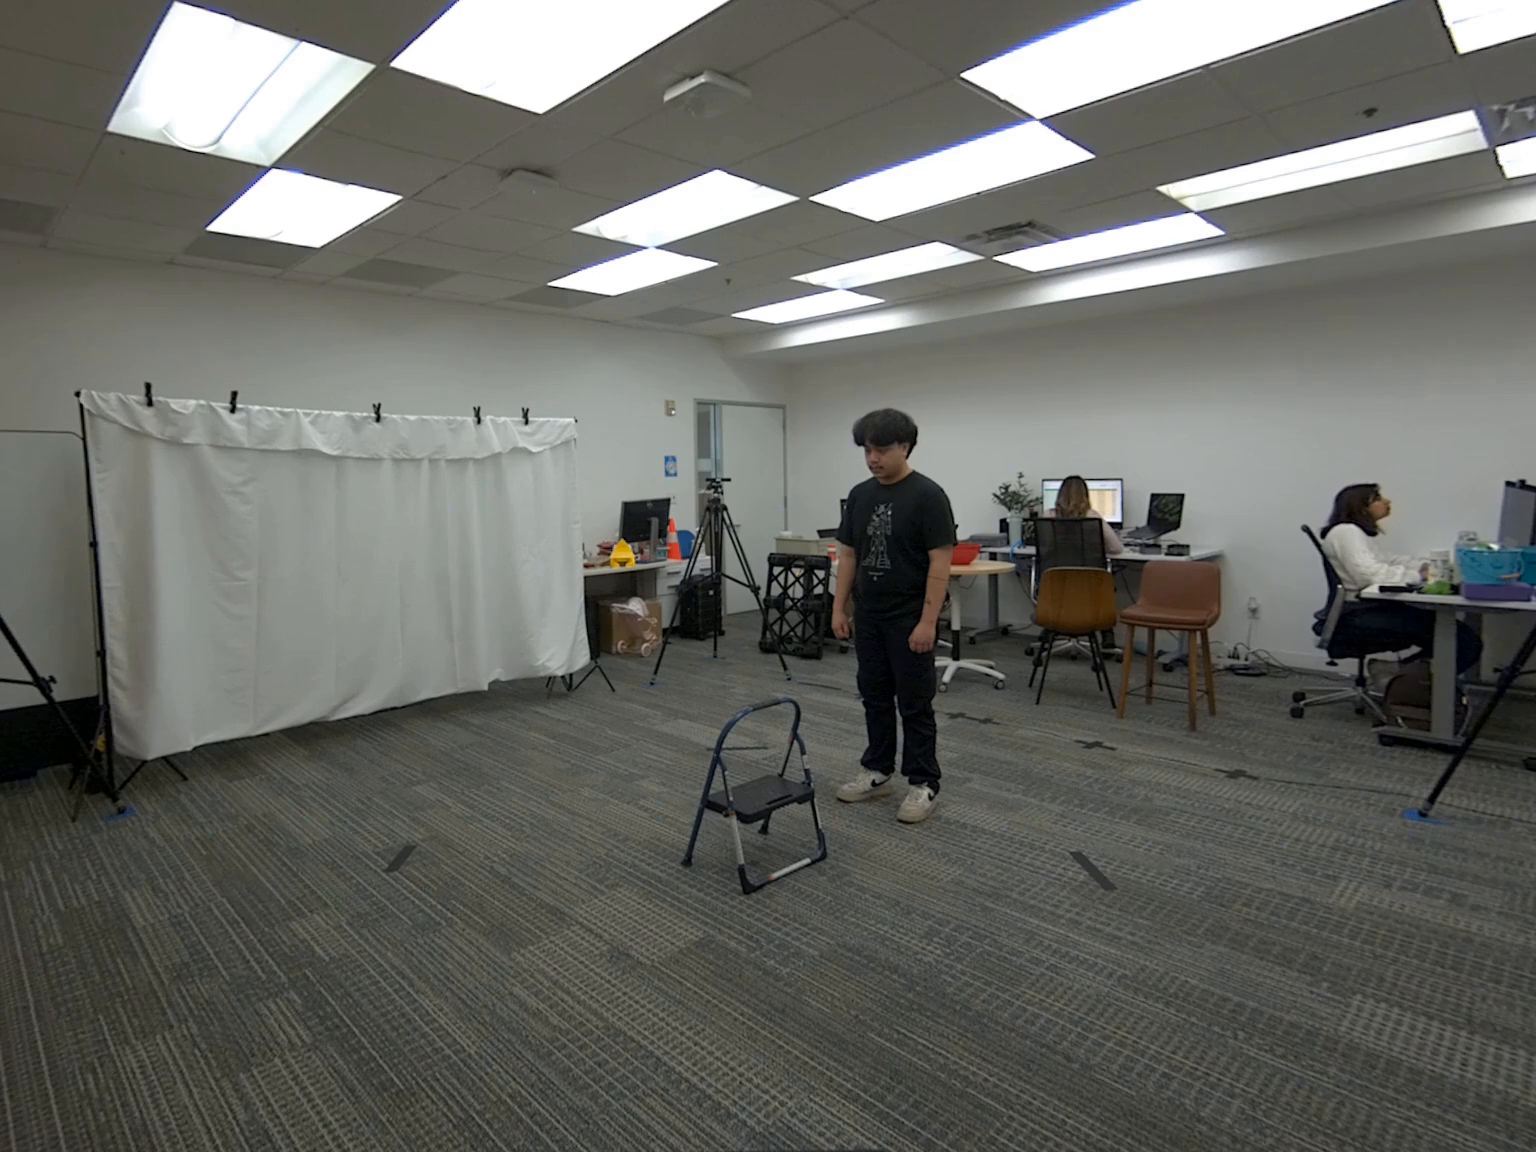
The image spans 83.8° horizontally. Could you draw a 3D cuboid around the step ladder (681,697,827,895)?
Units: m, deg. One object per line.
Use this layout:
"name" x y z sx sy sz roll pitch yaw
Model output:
"step ladder" -0.050 0.737 3.104 0.419 0.604 0.360 -5 6 -44
